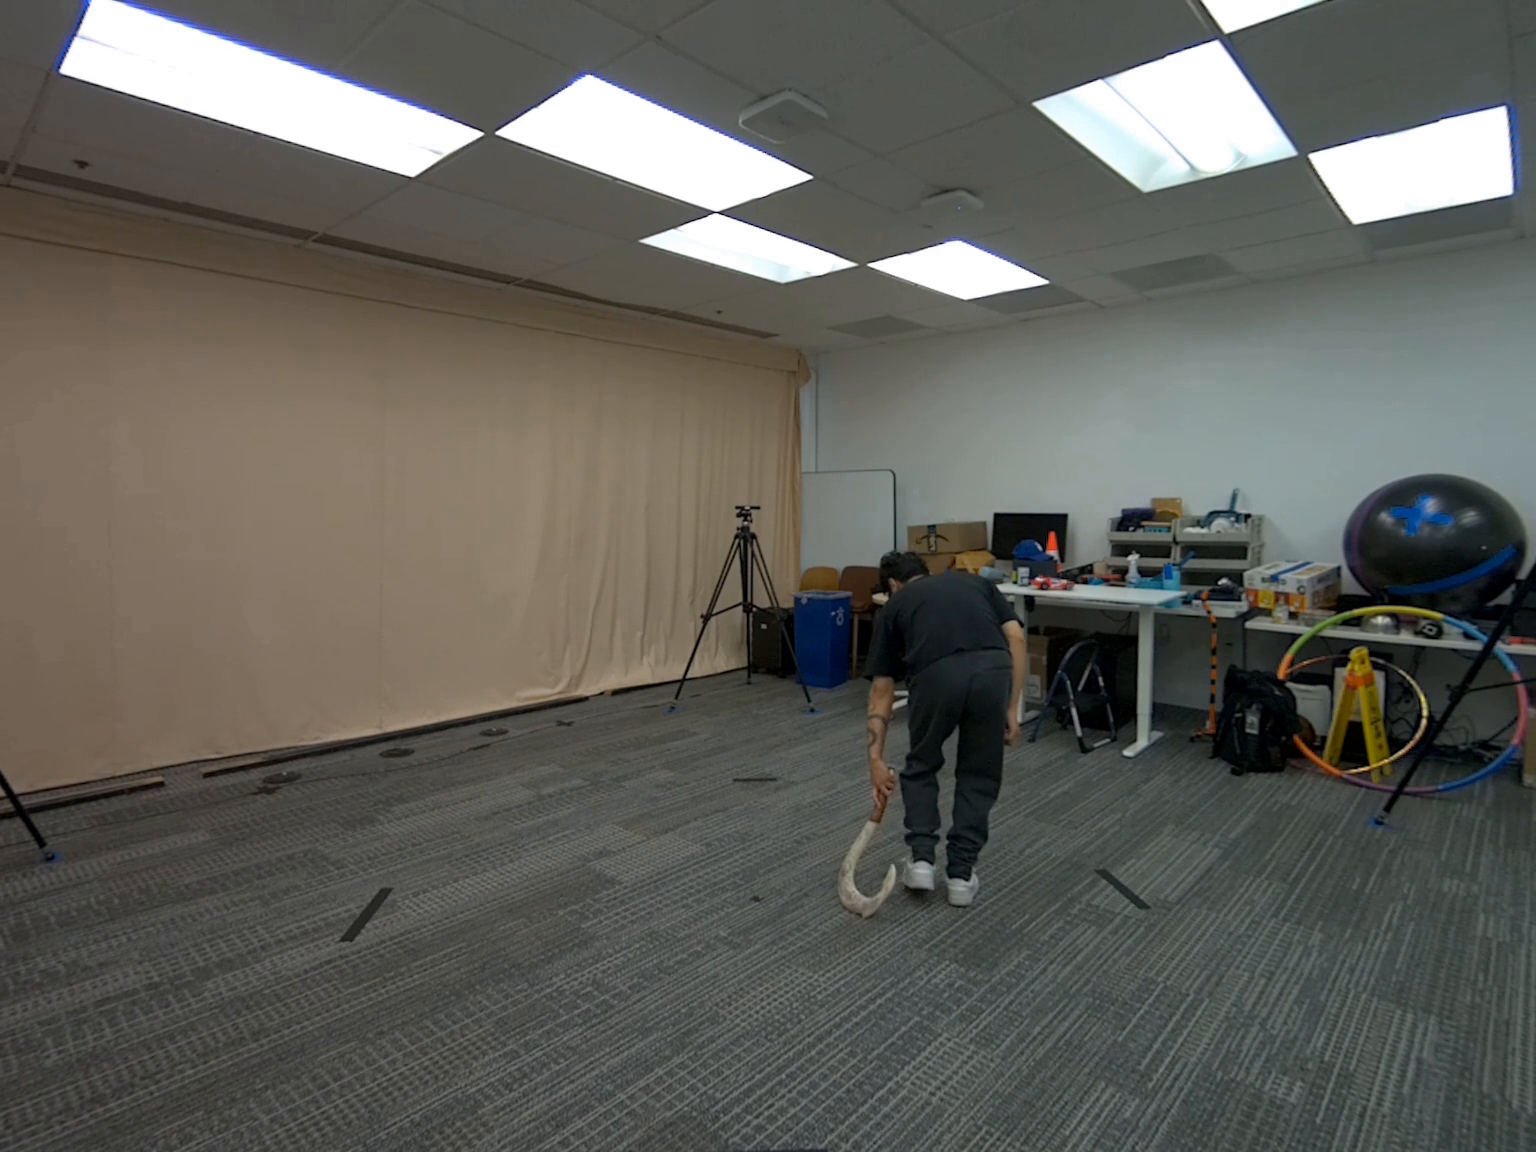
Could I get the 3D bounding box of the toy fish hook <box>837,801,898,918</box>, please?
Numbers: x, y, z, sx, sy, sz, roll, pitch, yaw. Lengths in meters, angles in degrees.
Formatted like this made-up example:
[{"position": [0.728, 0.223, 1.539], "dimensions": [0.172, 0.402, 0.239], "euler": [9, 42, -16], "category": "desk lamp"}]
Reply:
[{"position": [0.394, 0.934, 2.935], "dimensions": [0.232, 0.508, 0.046], "euler": [7, -20, 48], "category": "toy fish hook"}]
